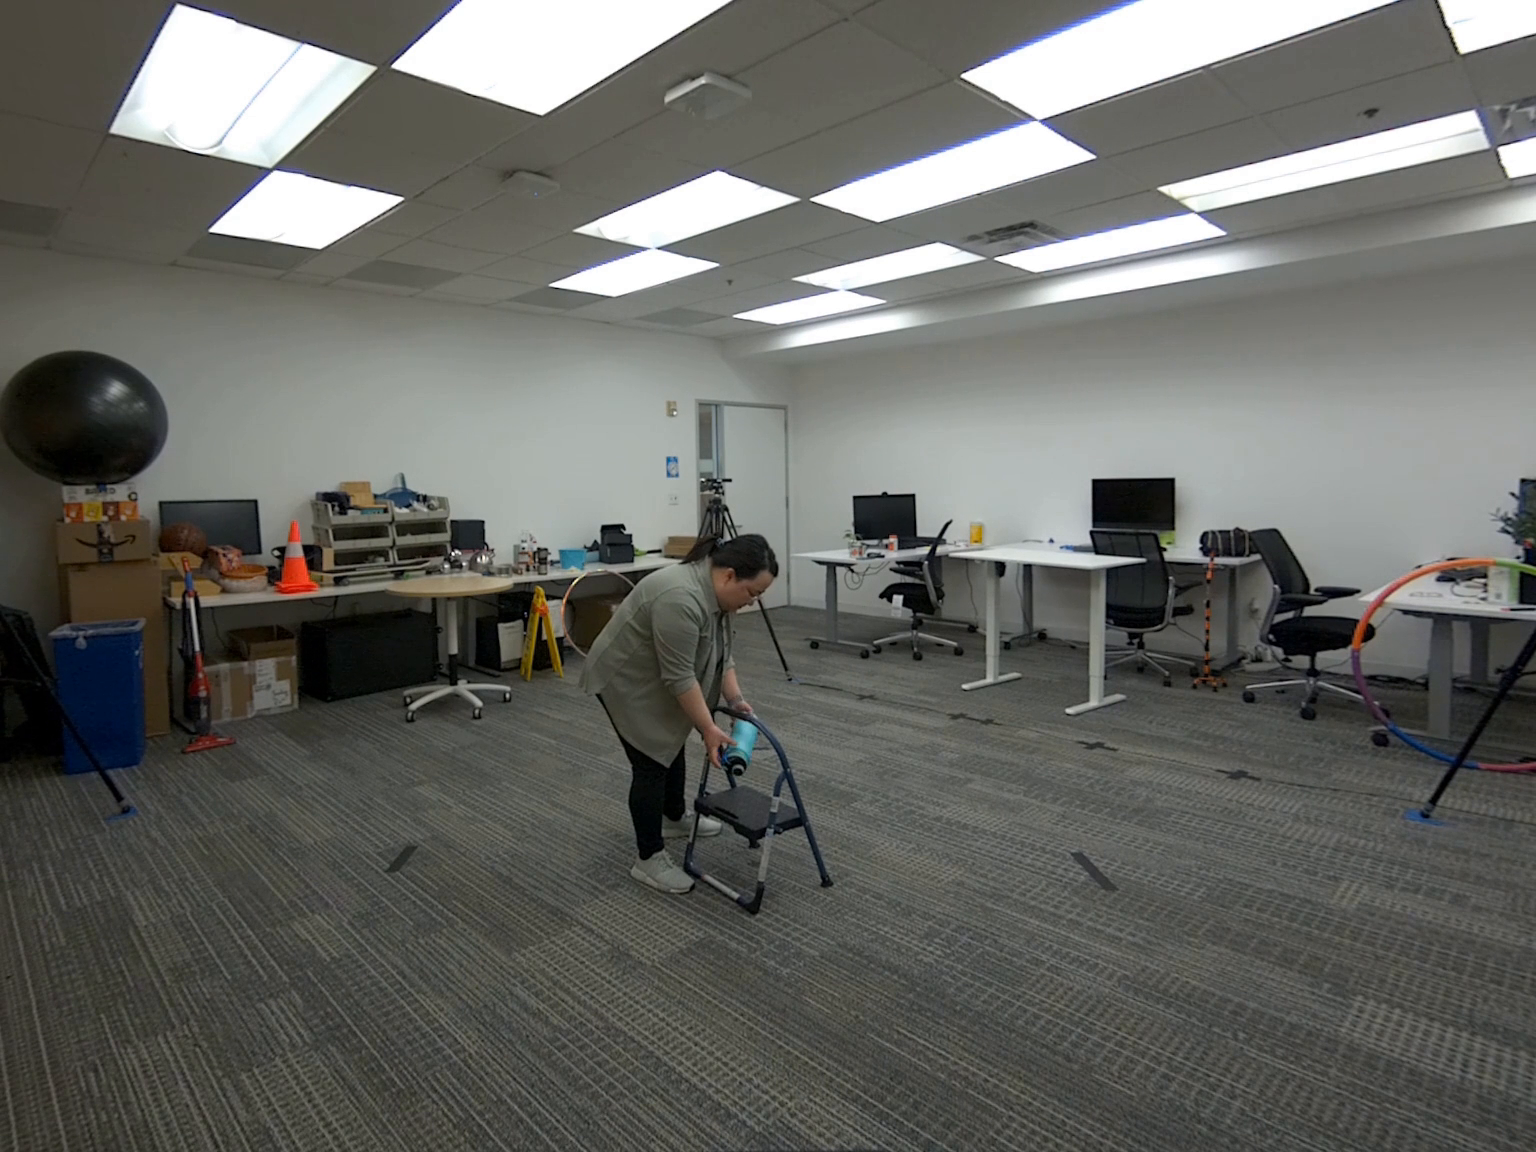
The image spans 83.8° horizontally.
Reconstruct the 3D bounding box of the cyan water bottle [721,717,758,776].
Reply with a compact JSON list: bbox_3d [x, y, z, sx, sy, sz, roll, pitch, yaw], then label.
[{"bbox_3d":[-0.093,0.583,2.939,0.093,0.091,0.286,-1,20,6],"label":"cyan water bottle"}]
